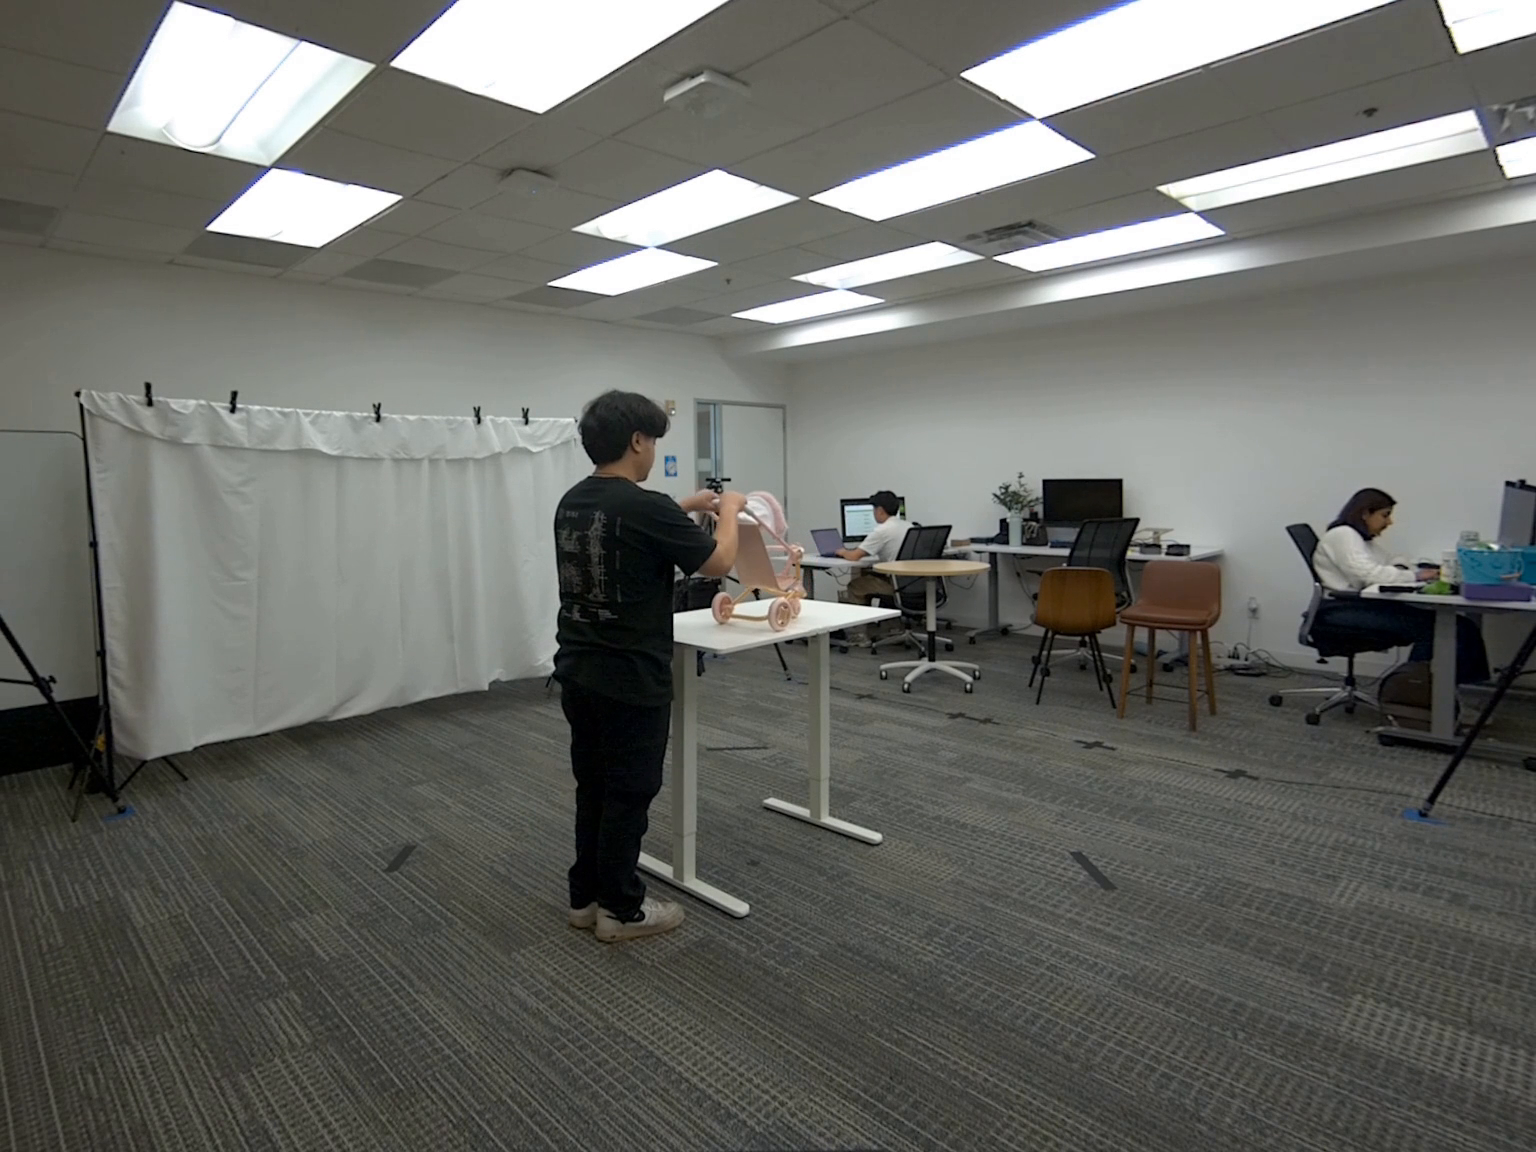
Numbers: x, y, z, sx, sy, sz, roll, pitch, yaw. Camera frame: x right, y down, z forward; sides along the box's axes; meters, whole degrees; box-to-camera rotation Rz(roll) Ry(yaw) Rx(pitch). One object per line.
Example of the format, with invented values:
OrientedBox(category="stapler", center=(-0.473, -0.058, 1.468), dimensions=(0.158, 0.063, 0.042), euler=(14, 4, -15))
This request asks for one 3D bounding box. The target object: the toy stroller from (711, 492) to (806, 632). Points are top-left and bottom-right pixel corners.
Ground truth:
OrientedBox(category="toy stroller", center=(-0.018, -0.054, 2.983), dimensions=(0.290, 0.527, 0.336), euler=(4, 20, 43))
